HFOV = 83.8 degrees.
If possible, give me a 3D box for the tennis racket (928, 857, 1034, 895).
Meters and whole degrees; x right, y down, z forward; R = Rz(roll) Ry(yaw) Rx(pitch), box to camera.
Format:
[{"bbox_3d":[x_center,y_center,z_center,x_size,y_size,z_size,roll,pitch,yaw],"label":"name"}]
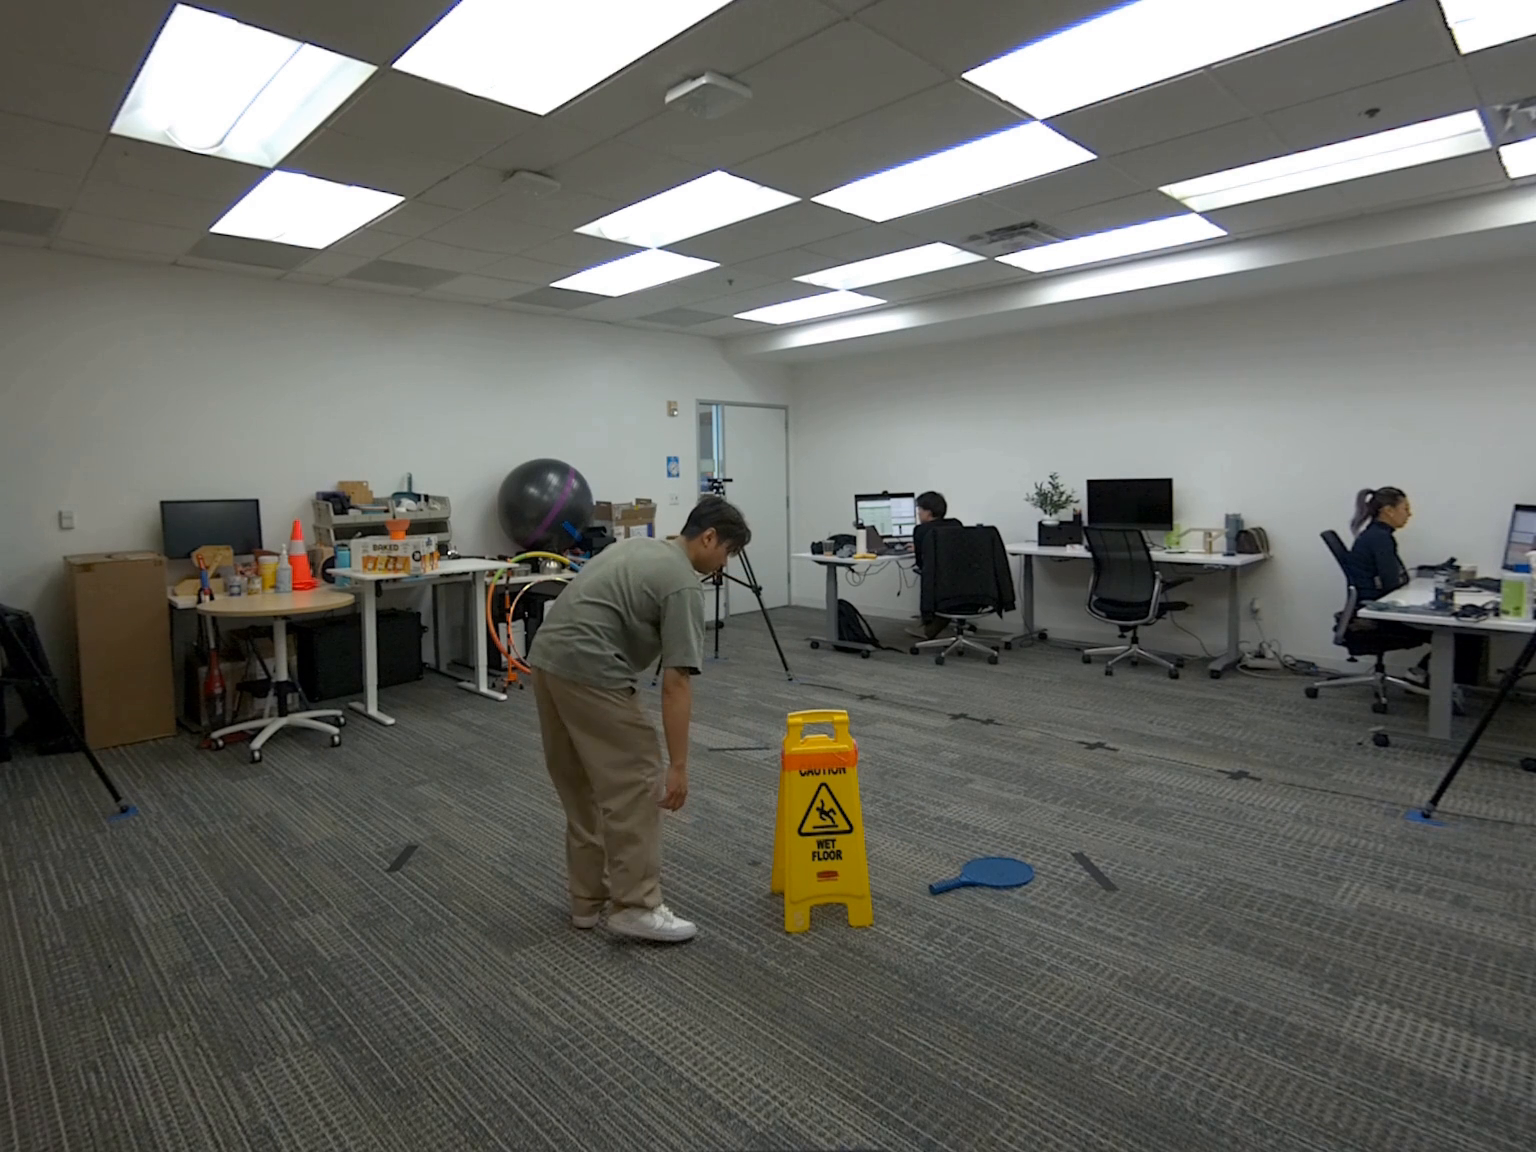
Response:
[{"bbox_3d":[0.736,1.035,2.950,0.423,0.031,0.220,-4,7,-30],"label":"tennis racket"}]
